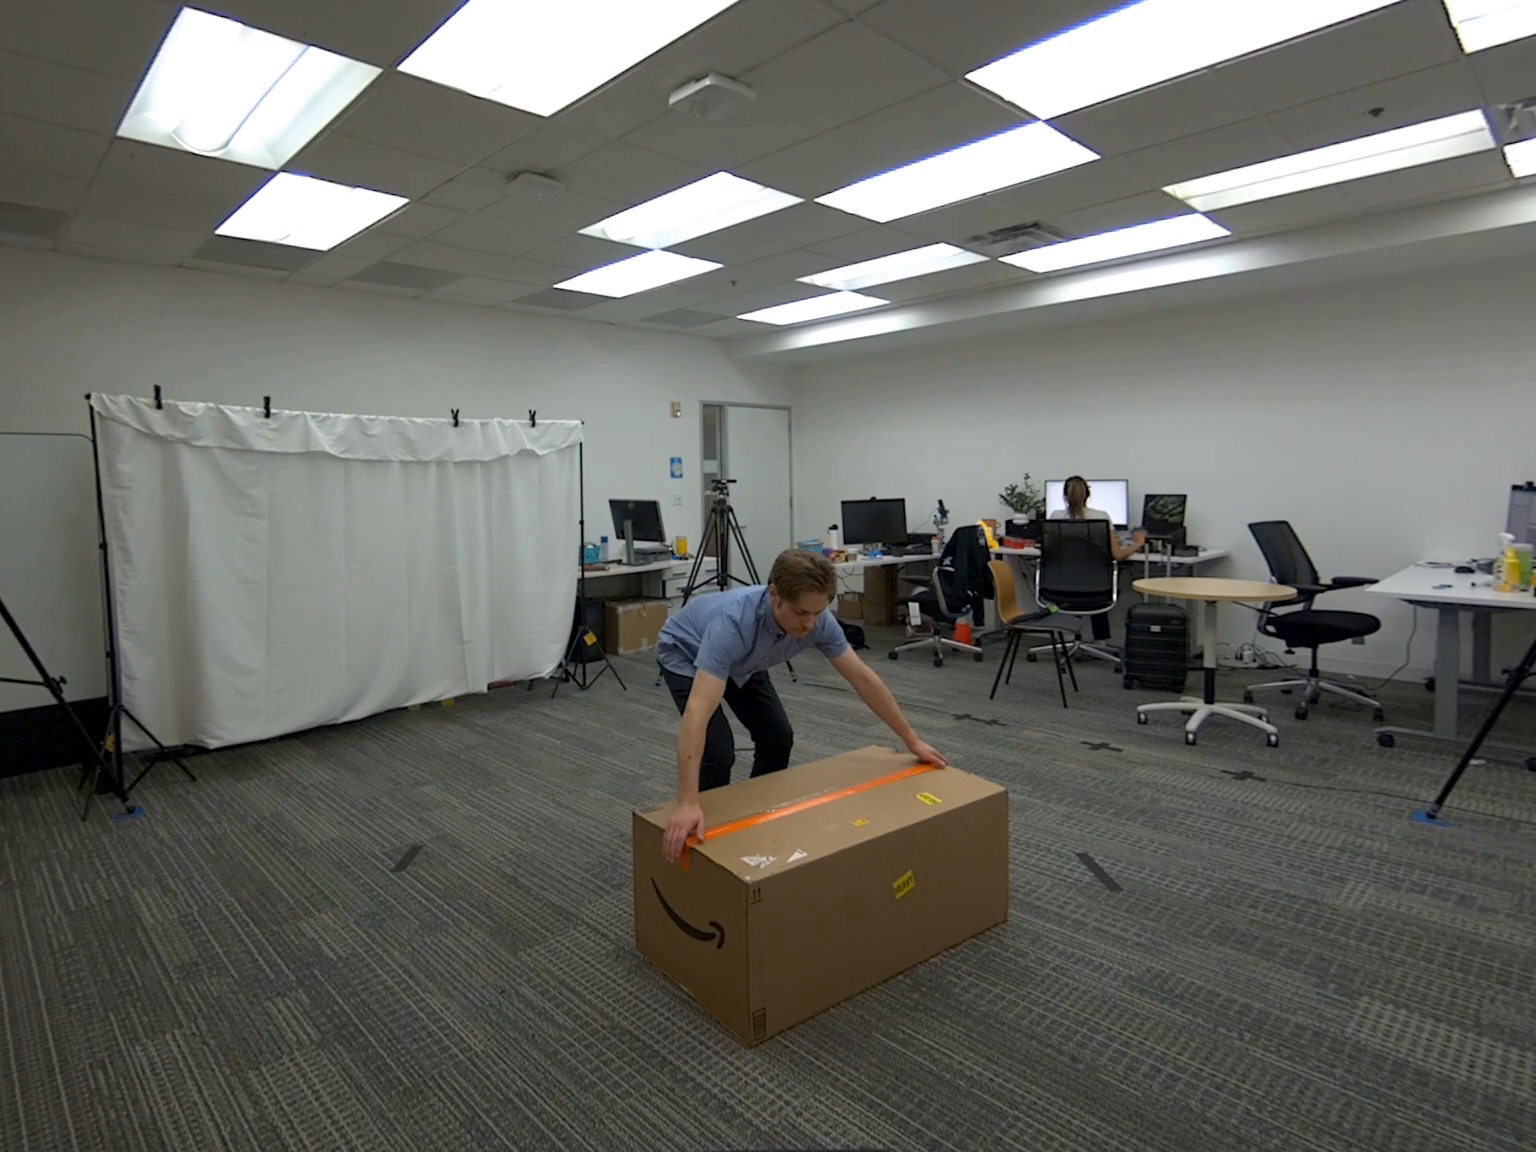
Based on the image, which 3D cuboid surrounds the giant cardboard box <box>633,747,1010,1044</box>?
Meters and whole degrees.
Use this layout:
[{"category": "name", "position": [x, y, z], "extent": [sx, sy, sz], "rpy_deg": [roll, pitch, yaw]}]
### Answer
[{"category": "giant cardboard box", "position": [0.179, 0.888, 2.608], "extent": [1.002, 0.445, 0.601], "rpy_deg": [-7, 7, -36]}]
